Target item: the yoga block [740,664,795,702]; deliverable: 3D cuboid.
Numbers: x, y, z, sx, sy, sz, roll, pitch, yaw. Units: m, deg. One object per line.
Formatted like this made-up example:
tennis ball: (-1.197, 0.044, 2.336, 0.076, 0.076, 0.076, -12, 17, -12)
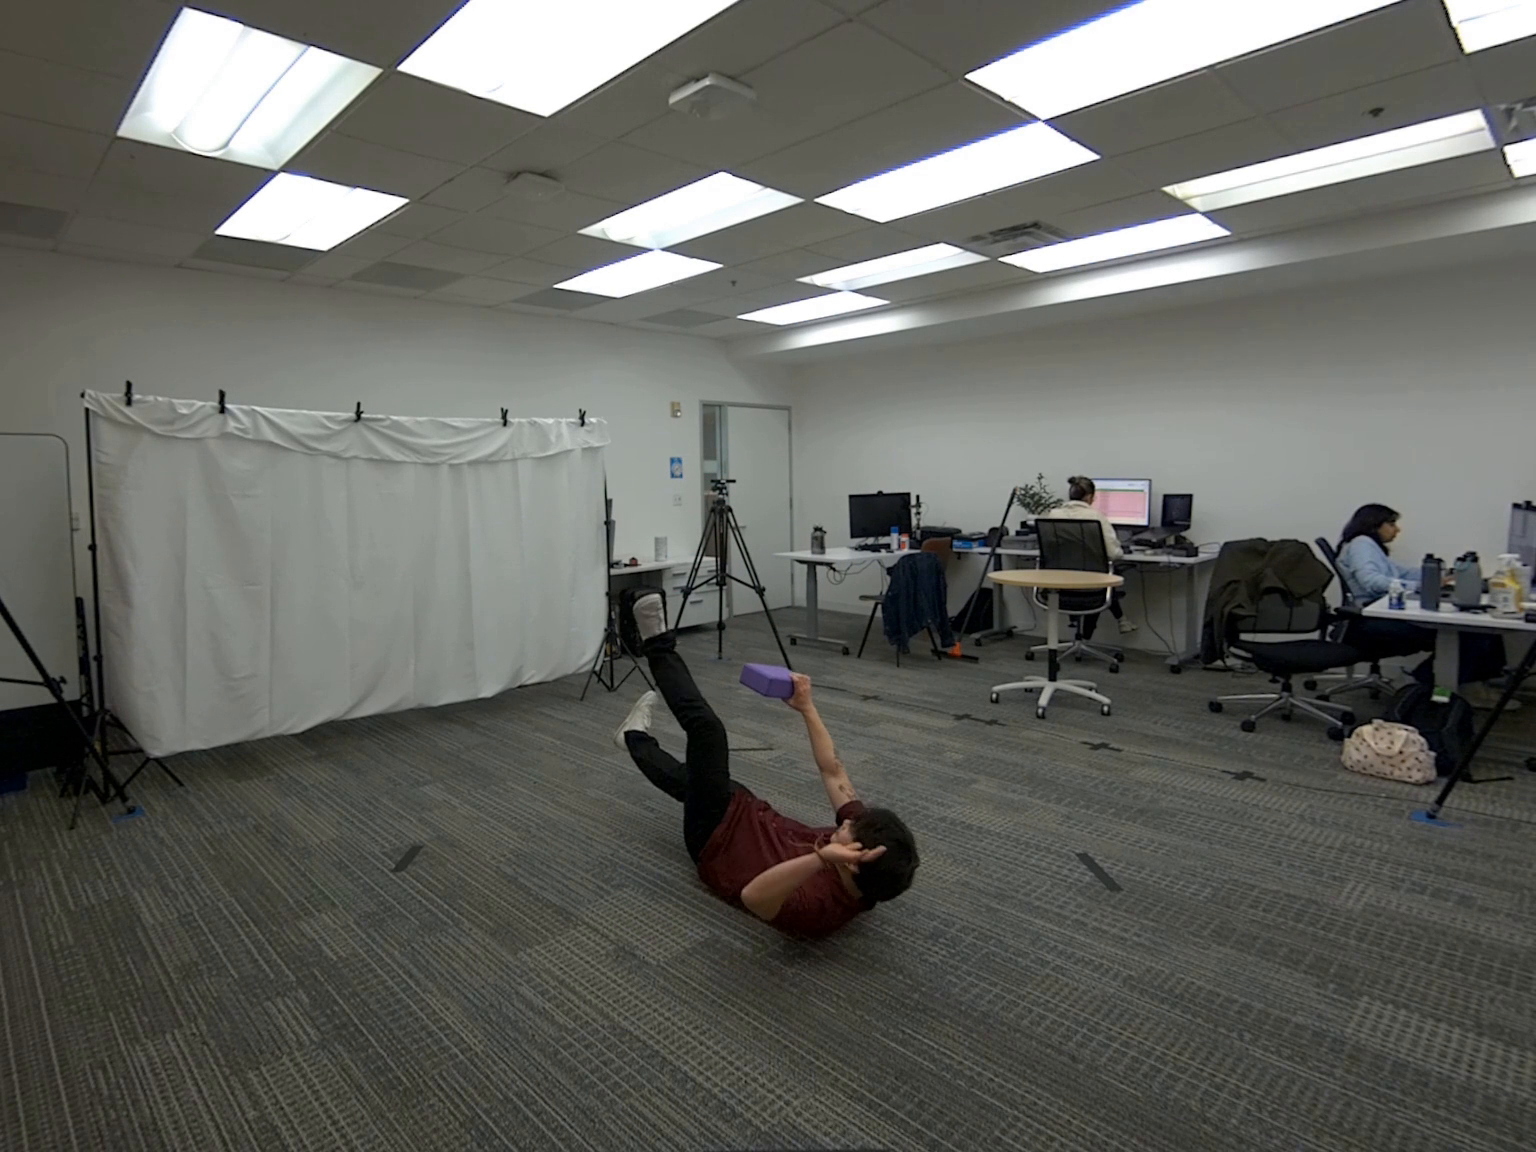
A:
yoga block: (0.021, 0.378, 3.073, 0.221, 0.076, 0.154, 13, 7, -42)
